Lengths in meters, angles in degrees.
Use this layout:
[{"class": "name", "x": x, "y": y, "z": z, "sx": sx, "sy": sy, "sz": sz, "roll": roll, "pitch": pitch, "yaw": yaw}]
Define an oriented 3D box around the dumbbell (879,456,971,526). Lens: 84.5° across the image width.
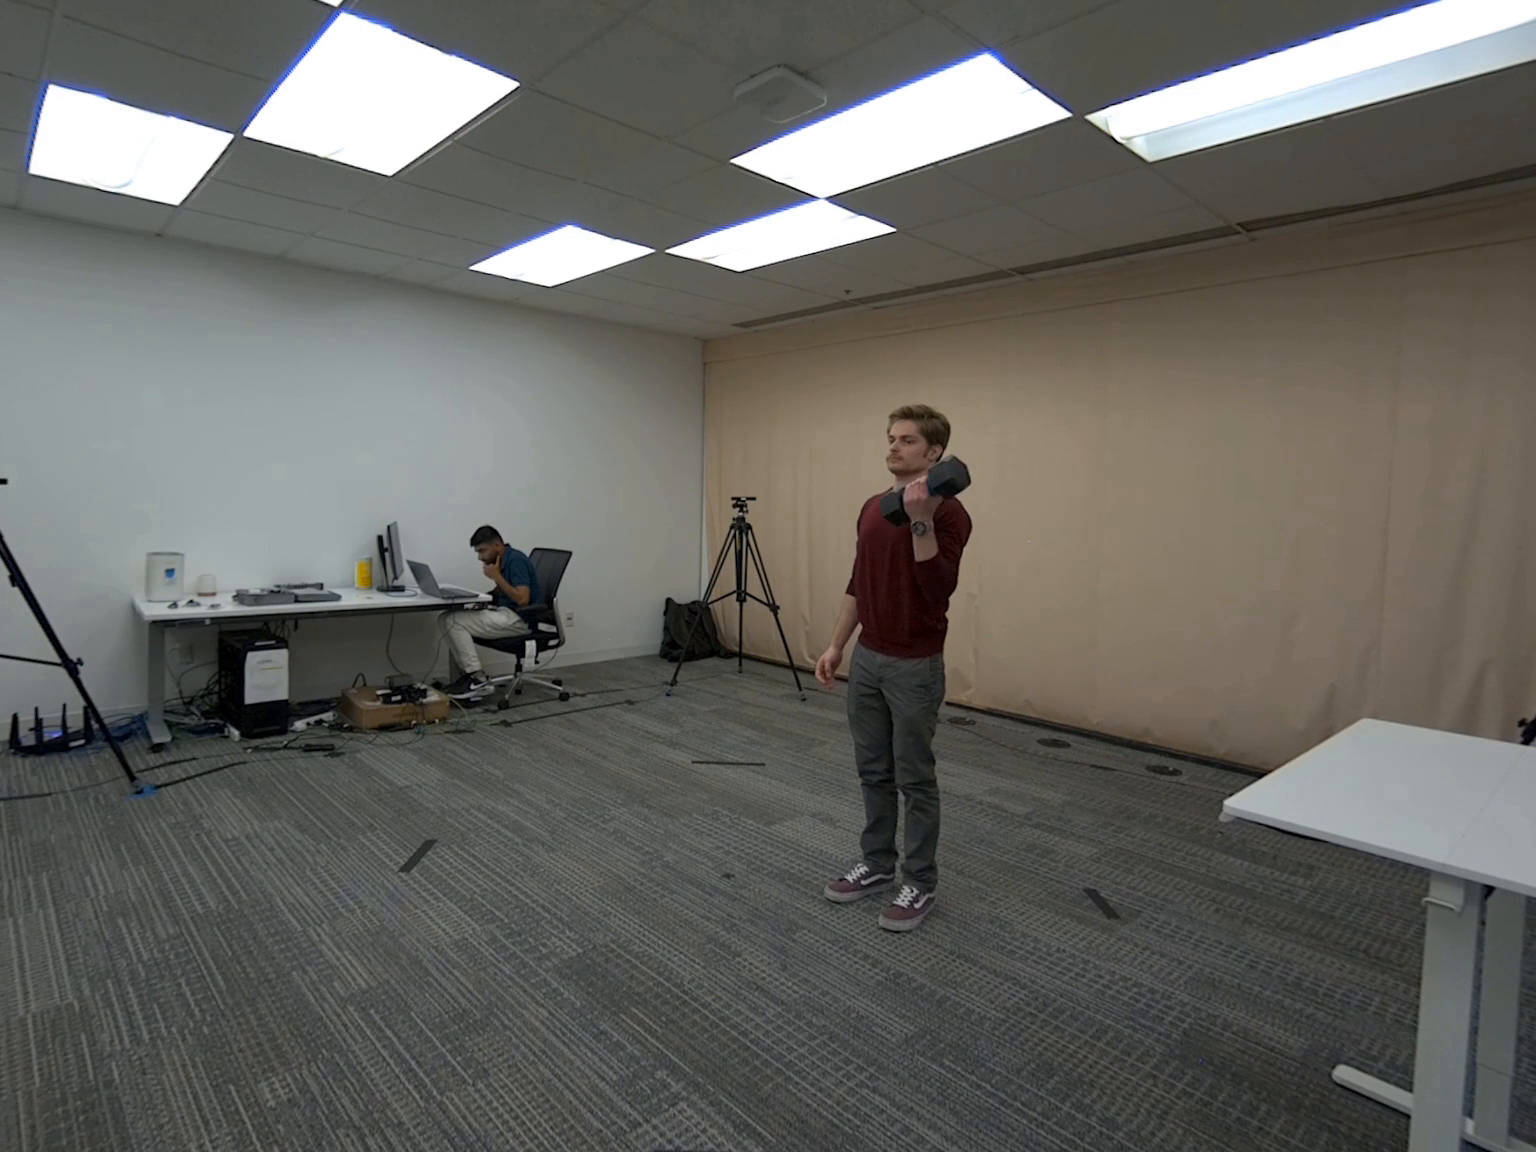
[{"class": "dumbbell", "x": 0.471, "y": -0.235, "z": 2.557, "sx": 0.120, "sy": 0.110, "sz": 0.296, "roll": 34, "pitch": -37, "yaw": -21}]
